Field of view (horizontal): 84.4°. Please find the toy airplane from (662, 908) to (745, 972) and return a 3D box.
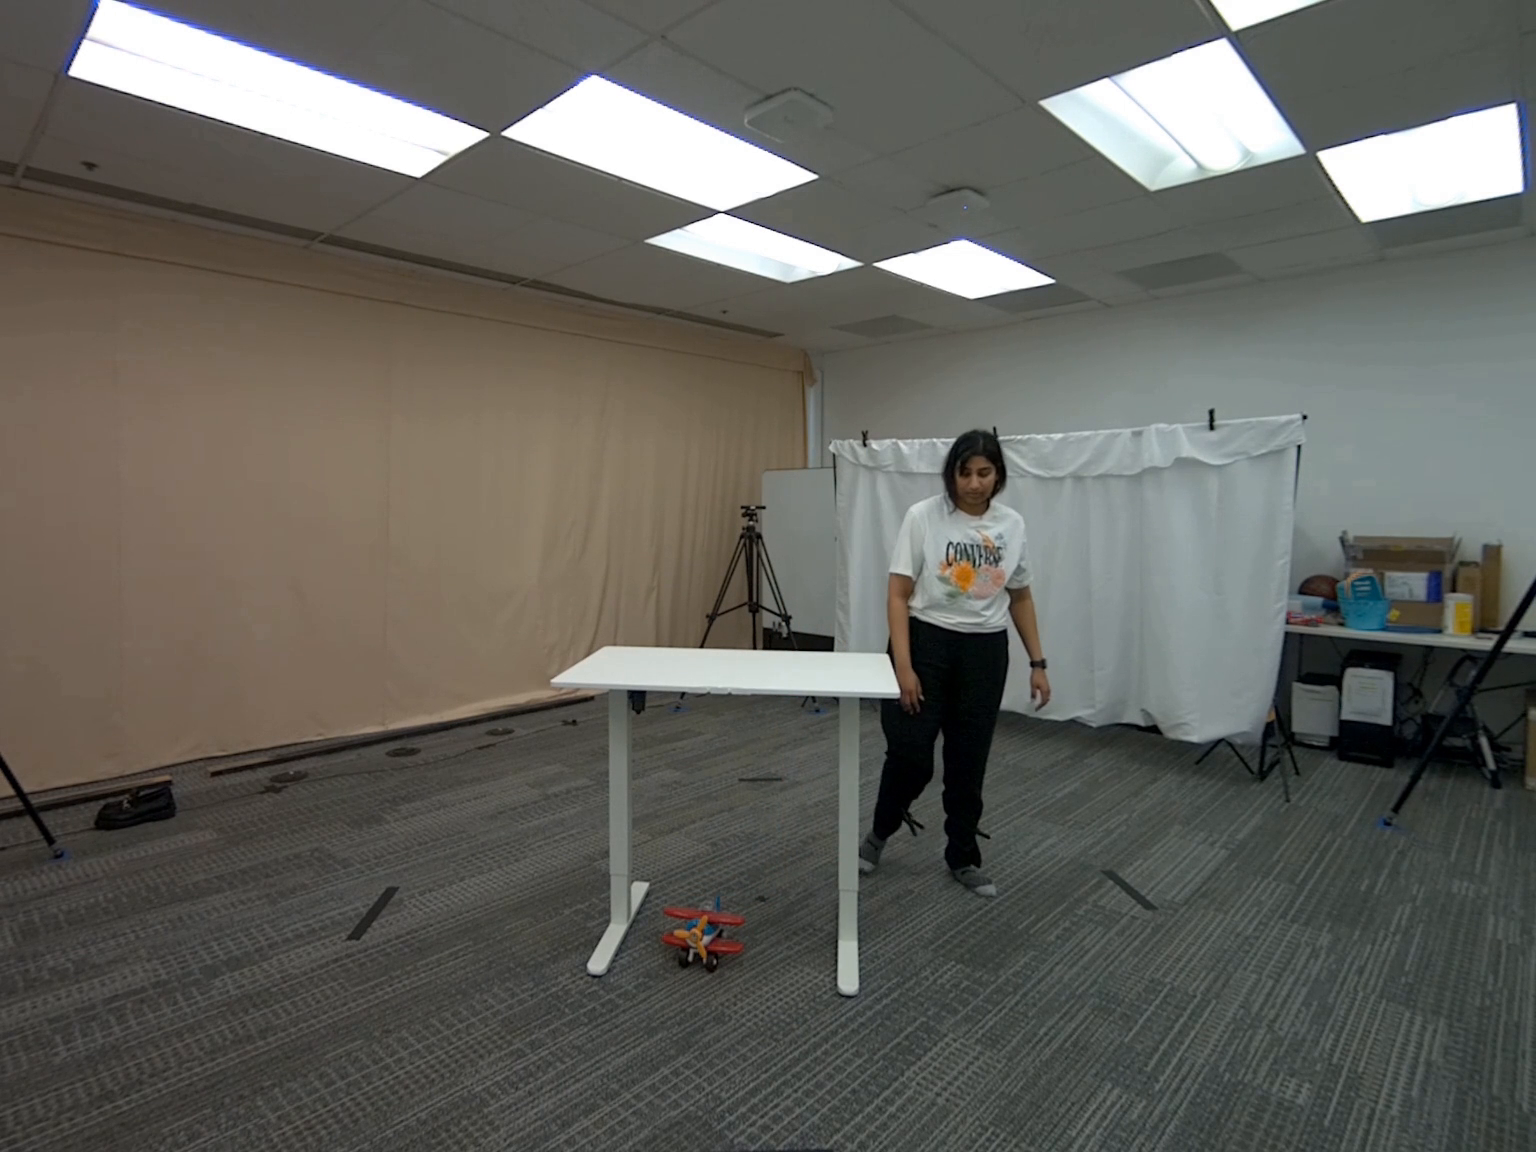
[{"bbox_3d":[-0.204,1.103,2.612,0.248,0.156,0.263,-1,6,-13],"label":"toy airplane"}]
